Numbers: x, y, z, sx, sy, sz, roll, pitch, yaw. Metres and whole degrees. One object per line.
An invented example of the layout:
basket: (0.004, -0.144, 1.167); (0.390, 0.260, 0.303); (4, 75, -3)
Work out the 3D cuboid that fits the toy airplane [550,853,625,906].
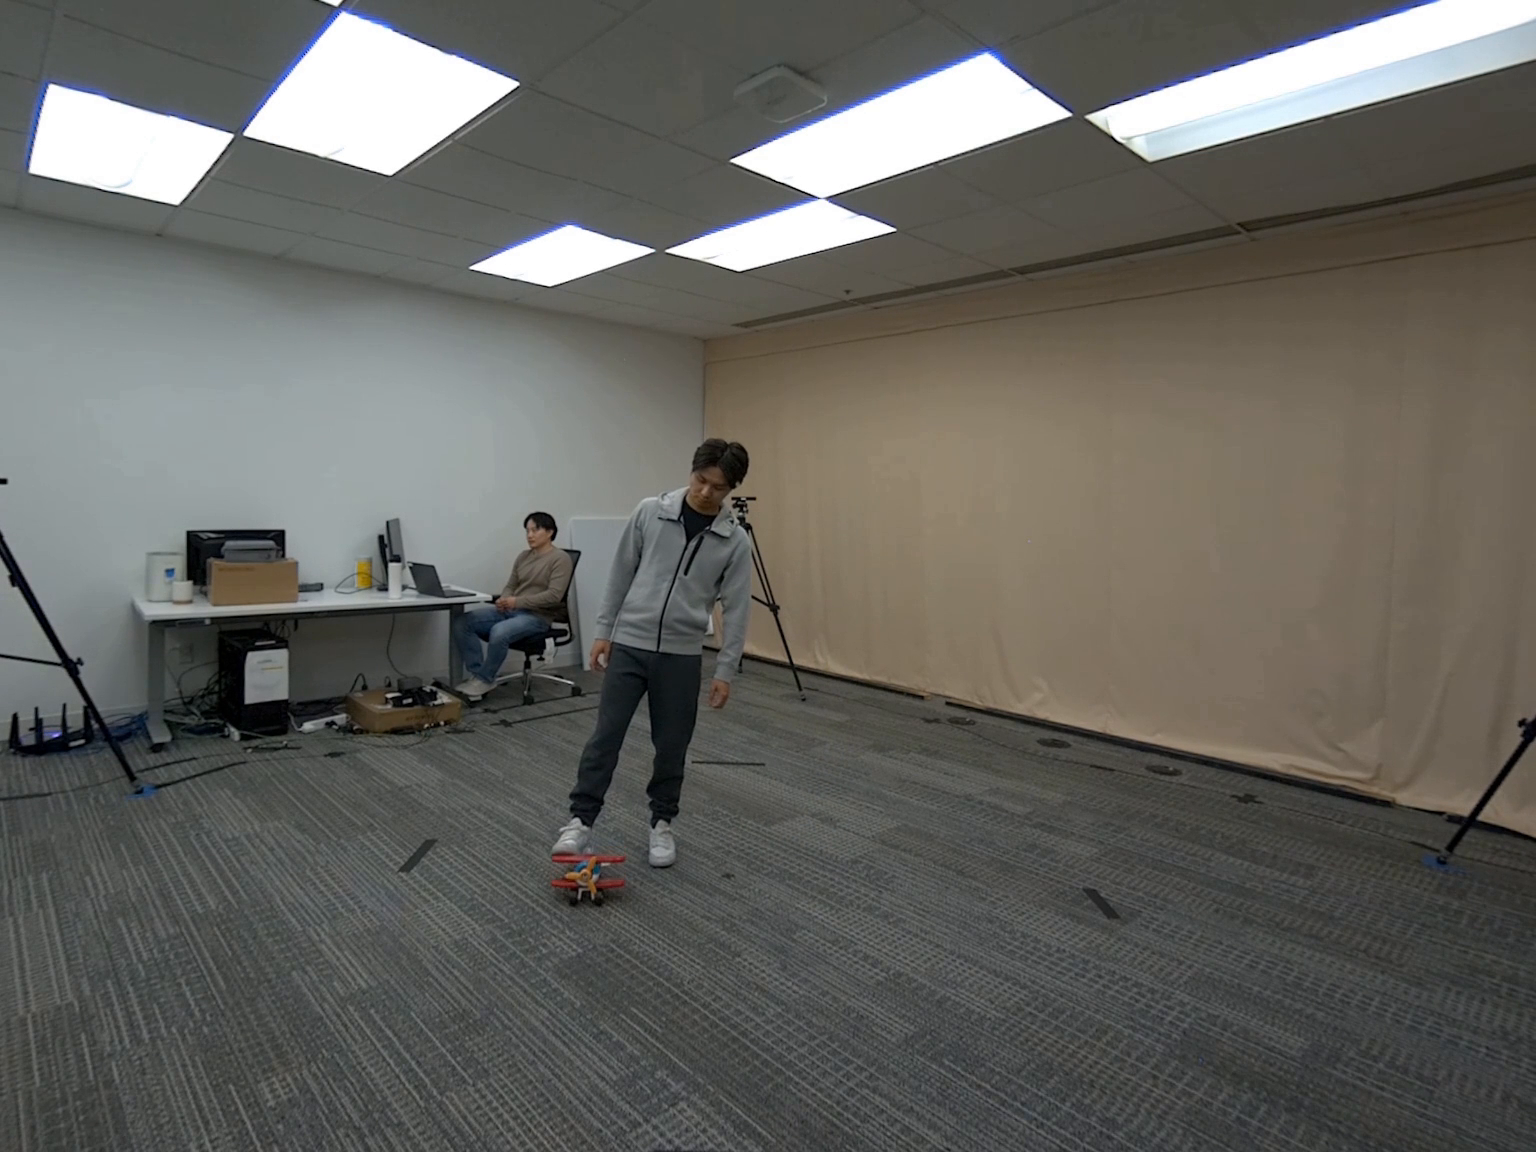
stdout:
toy airplane: (-0.650, 1.039, 2.939); (0.246, 0.156, 0.265); (-2, 7, -30)
